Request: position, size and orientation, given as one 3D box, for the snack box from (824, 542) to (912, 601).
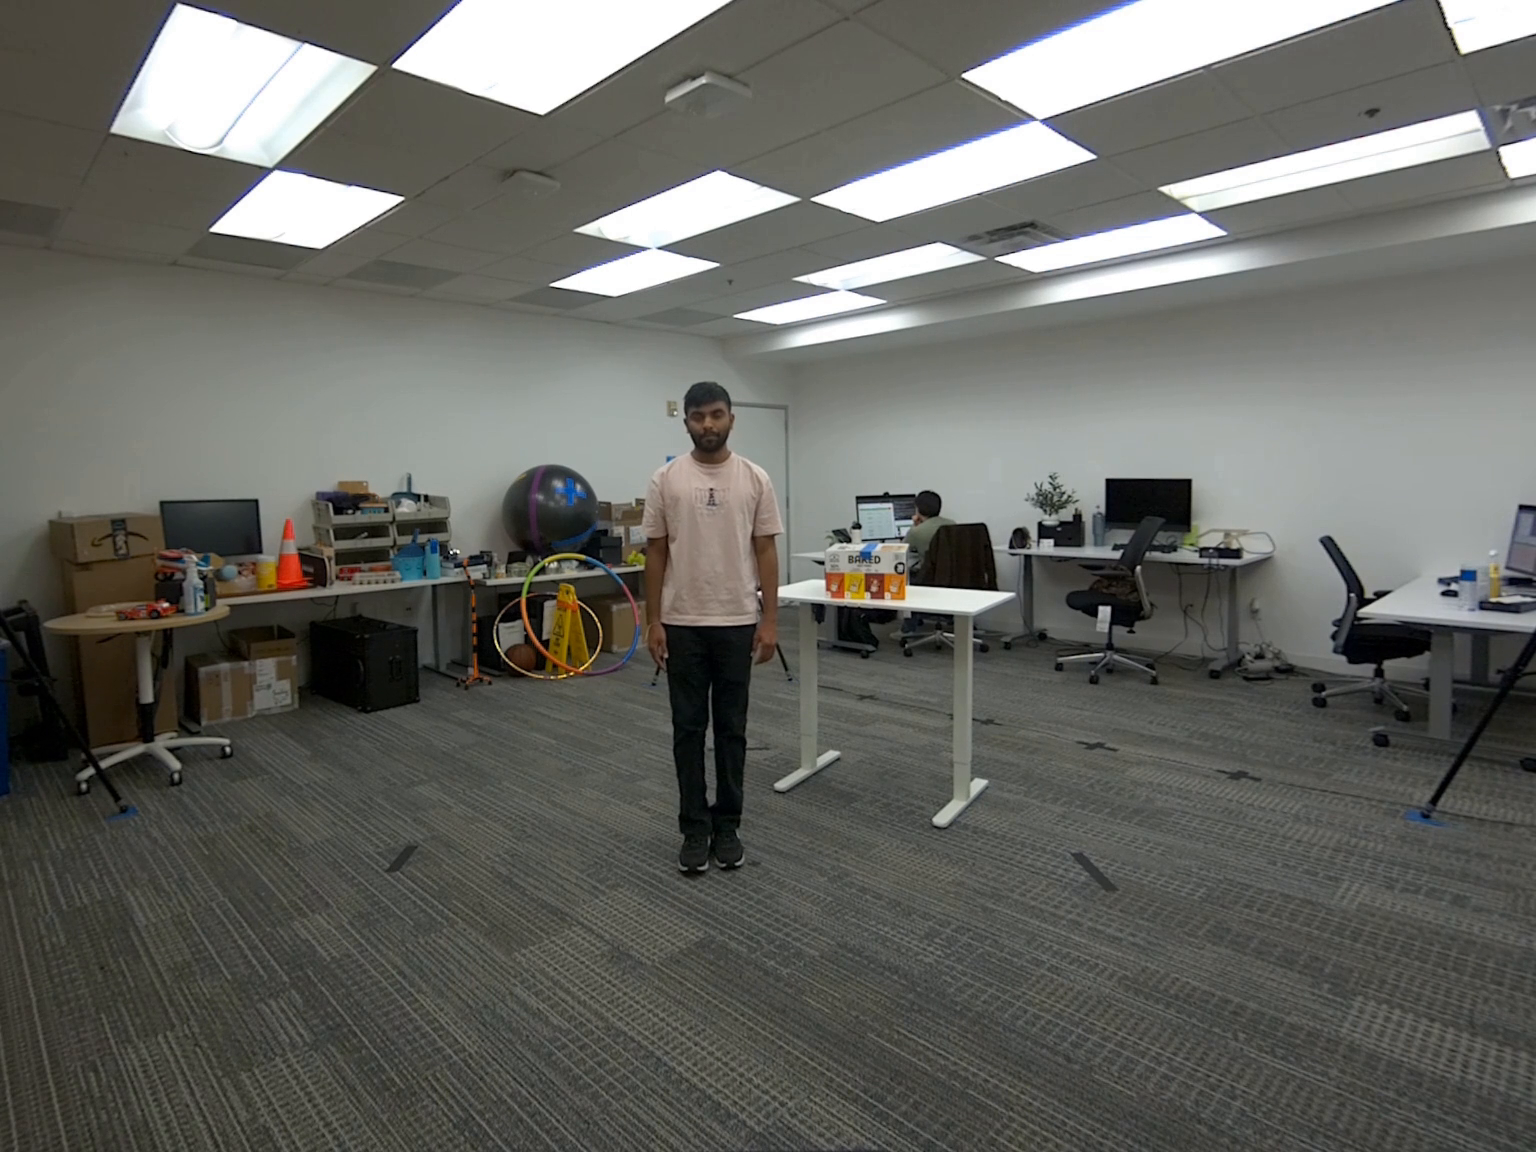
[{"bbox_3d":[0.447,-0.029,3.797,0.345,0.205,0.401,1,6,13],"label":"snack box"}]
